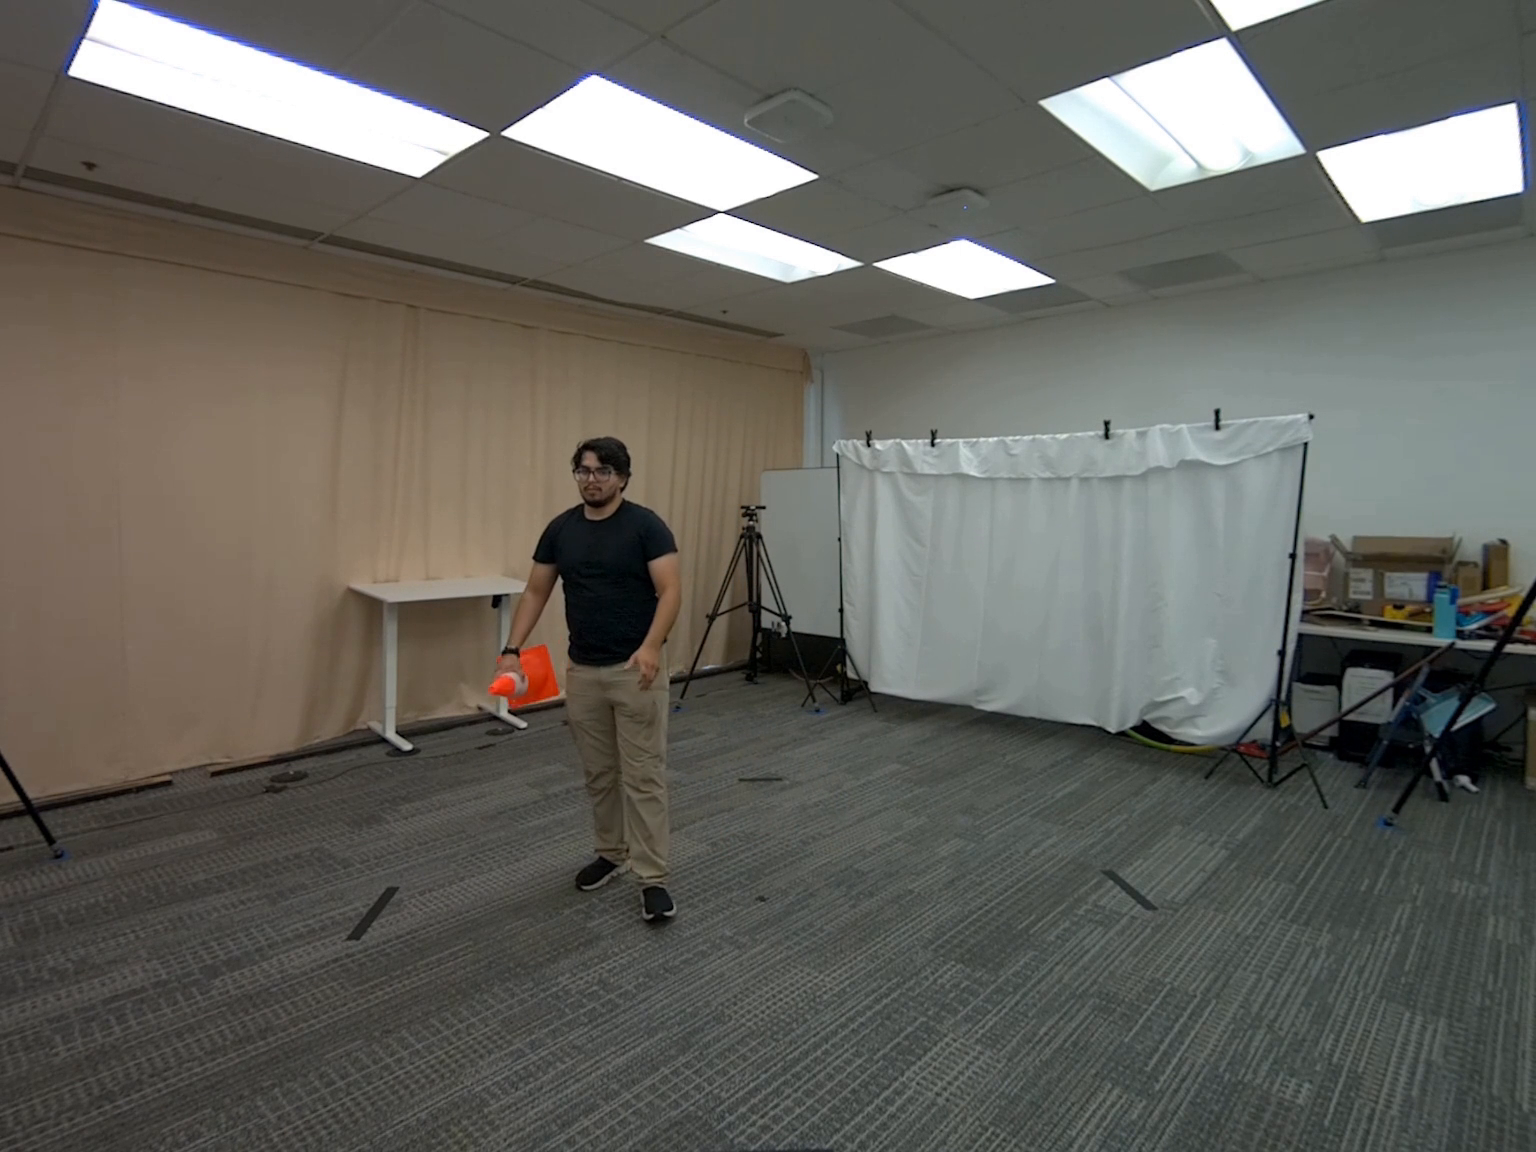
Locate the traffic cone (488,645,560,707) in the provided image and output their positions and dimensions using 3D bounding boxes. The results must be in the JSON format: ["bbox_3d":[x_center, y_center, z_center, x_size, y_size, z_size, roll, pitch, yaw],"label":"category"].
[{"bbox_3d":[-0.895,0.386,2.940,0.206,0.203,0.383,-14,4,4],"label":"traffic cone"}]
